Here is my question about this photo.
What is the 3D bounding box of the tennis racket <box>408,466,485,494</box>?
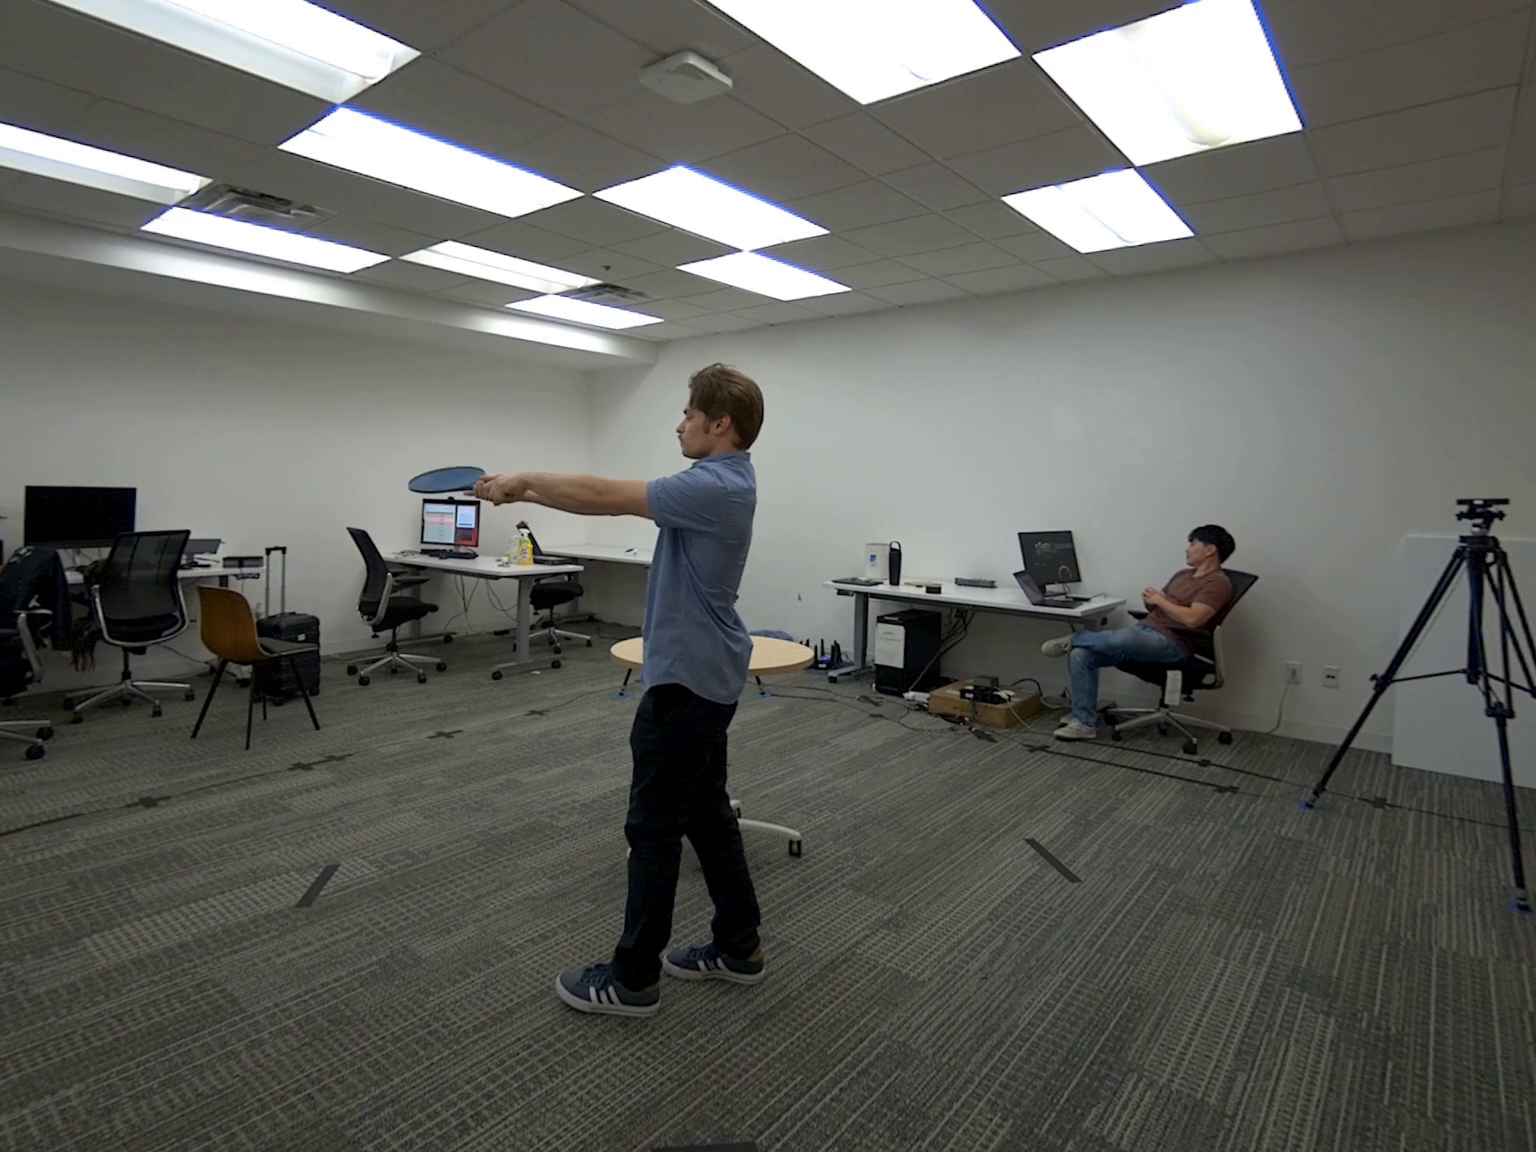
[{"bbox_3d":[-0.907,-0.271,2.462,0.211,0.031,0.450,-29,32,-35],"label":"tennis racket"}]
